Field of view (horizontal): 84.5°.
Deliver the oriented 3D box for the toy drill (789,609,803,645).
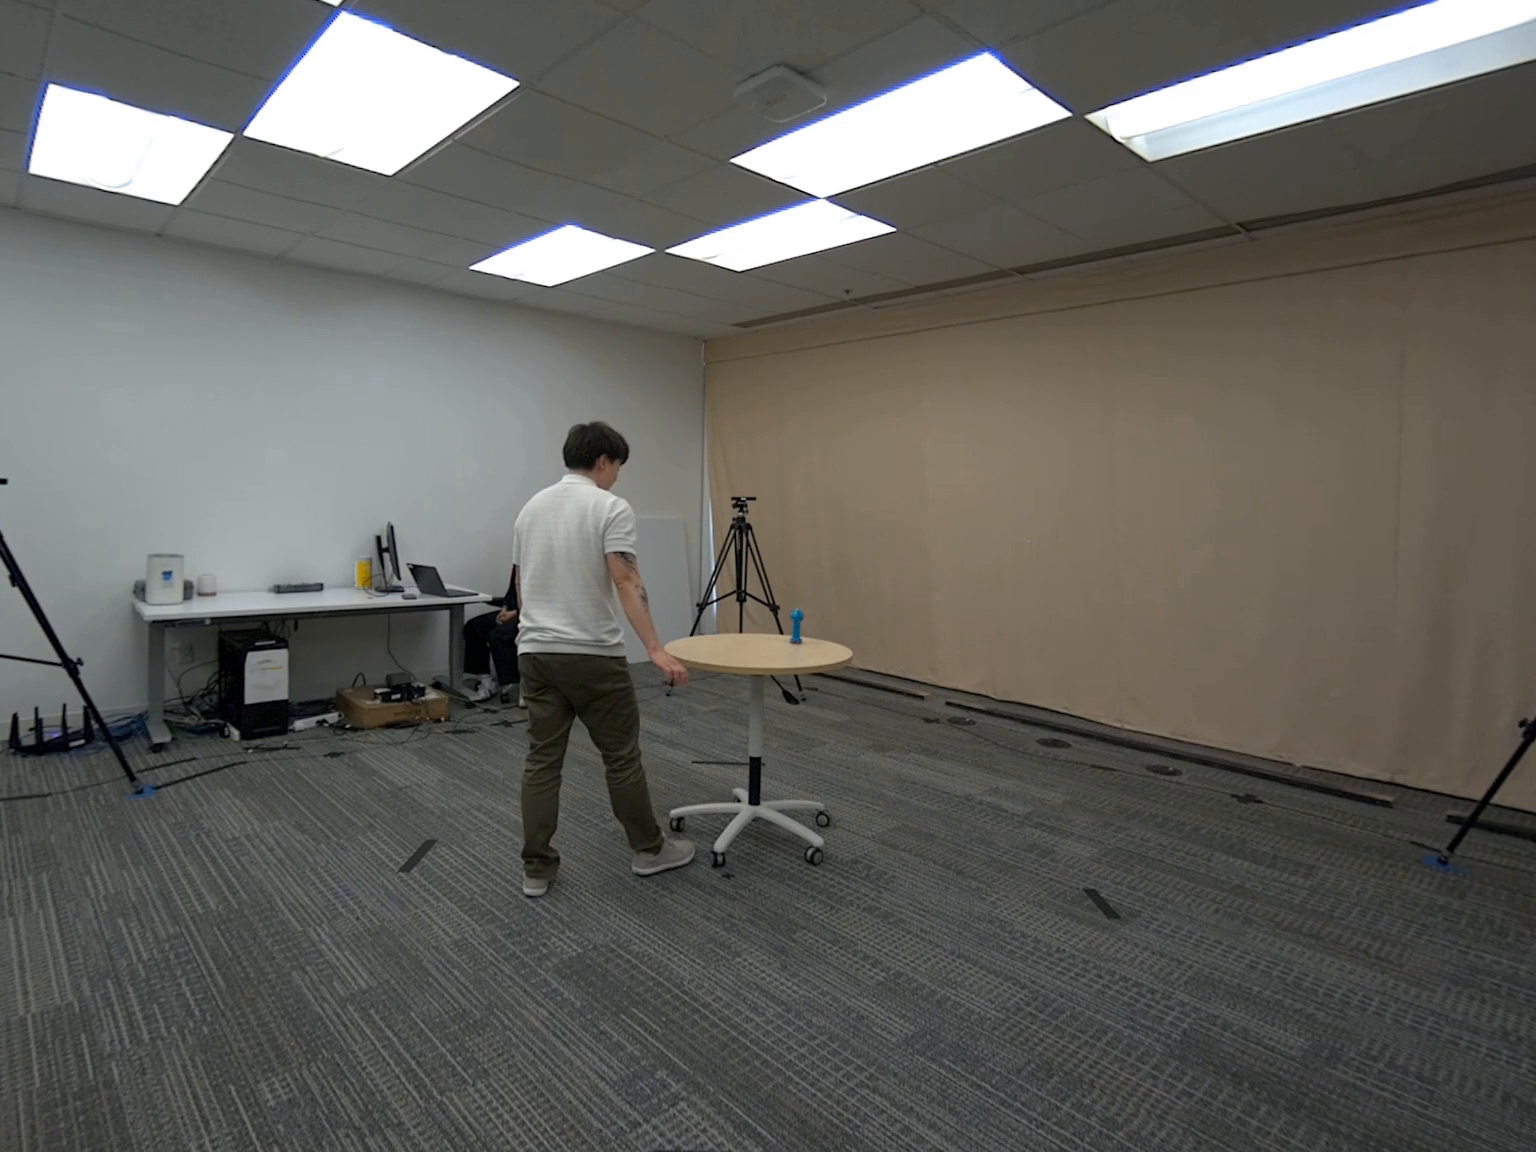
[{"bbox_3d":[0.113,0.208,3.626,0.061,0.146,0.170,1,4,2],"label":"toy drill"}]
